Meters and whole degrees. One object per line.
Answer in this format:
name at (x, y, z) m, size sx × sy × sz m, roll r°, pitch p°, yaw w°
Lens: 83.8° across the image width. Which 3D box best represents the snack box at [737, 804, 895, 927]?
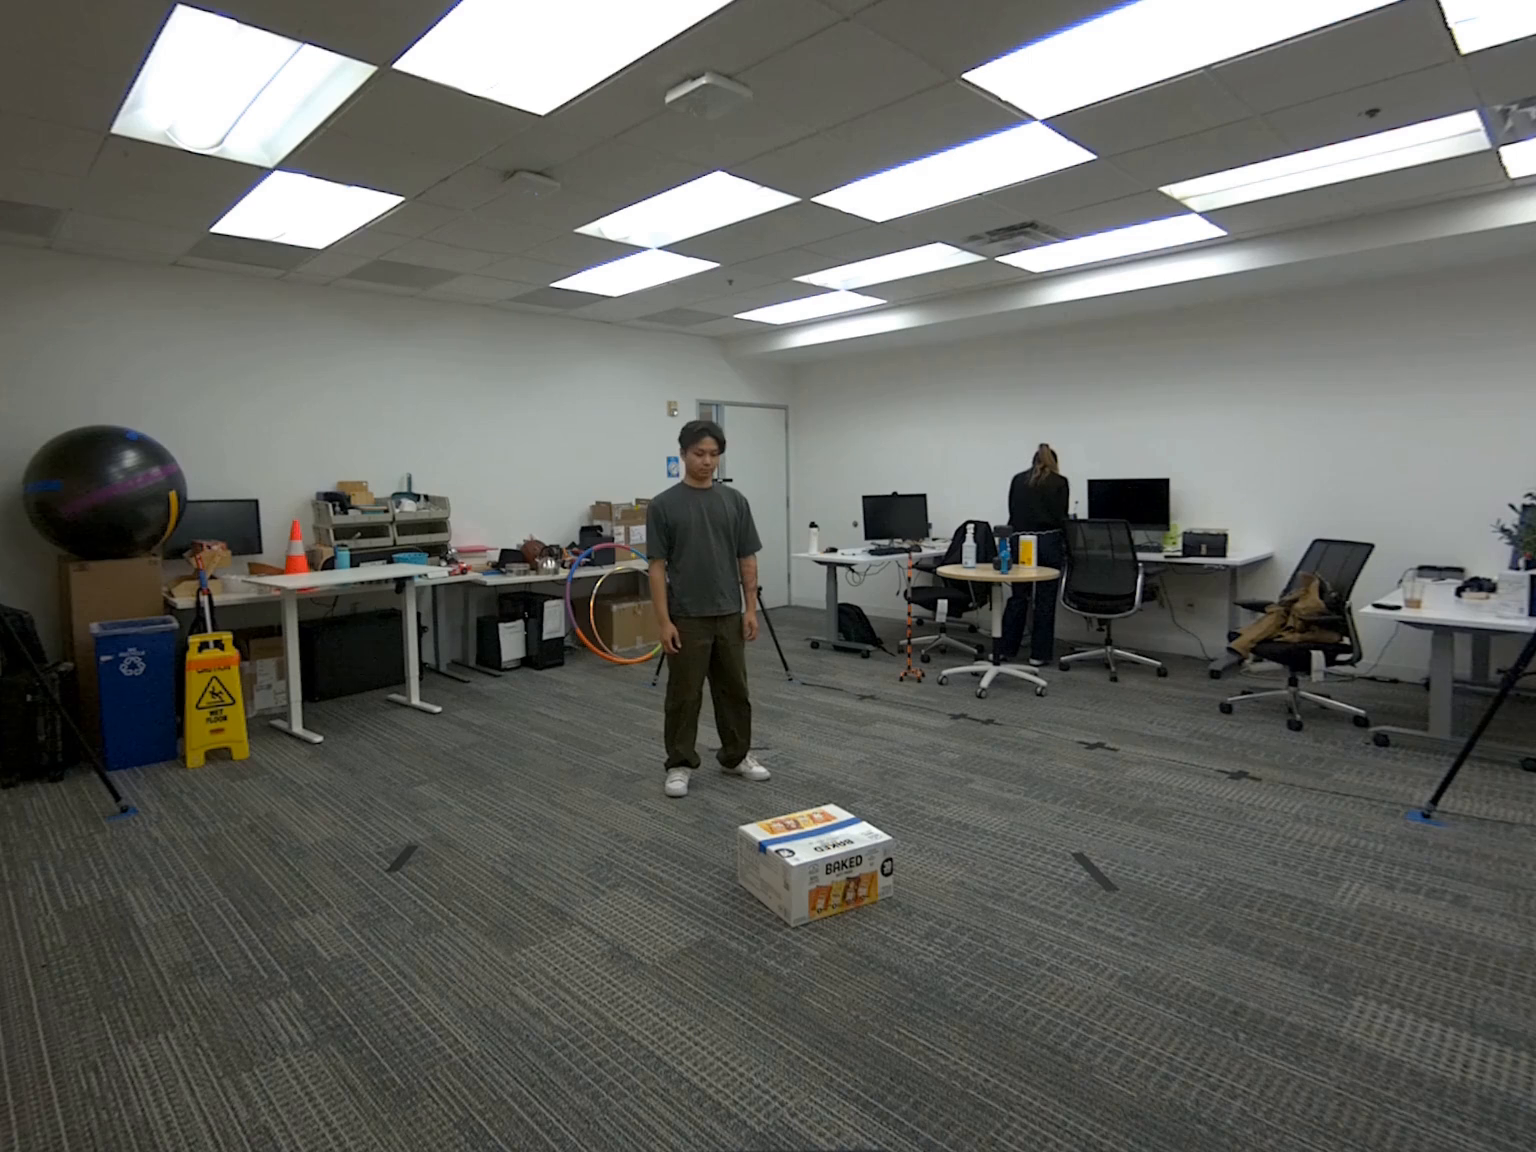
snack box at (0.157, 0.960, 2.882) m, size 0.396 × 0.205 × 0.350 m, roll -5°, pitch 7°, yaw -30°
